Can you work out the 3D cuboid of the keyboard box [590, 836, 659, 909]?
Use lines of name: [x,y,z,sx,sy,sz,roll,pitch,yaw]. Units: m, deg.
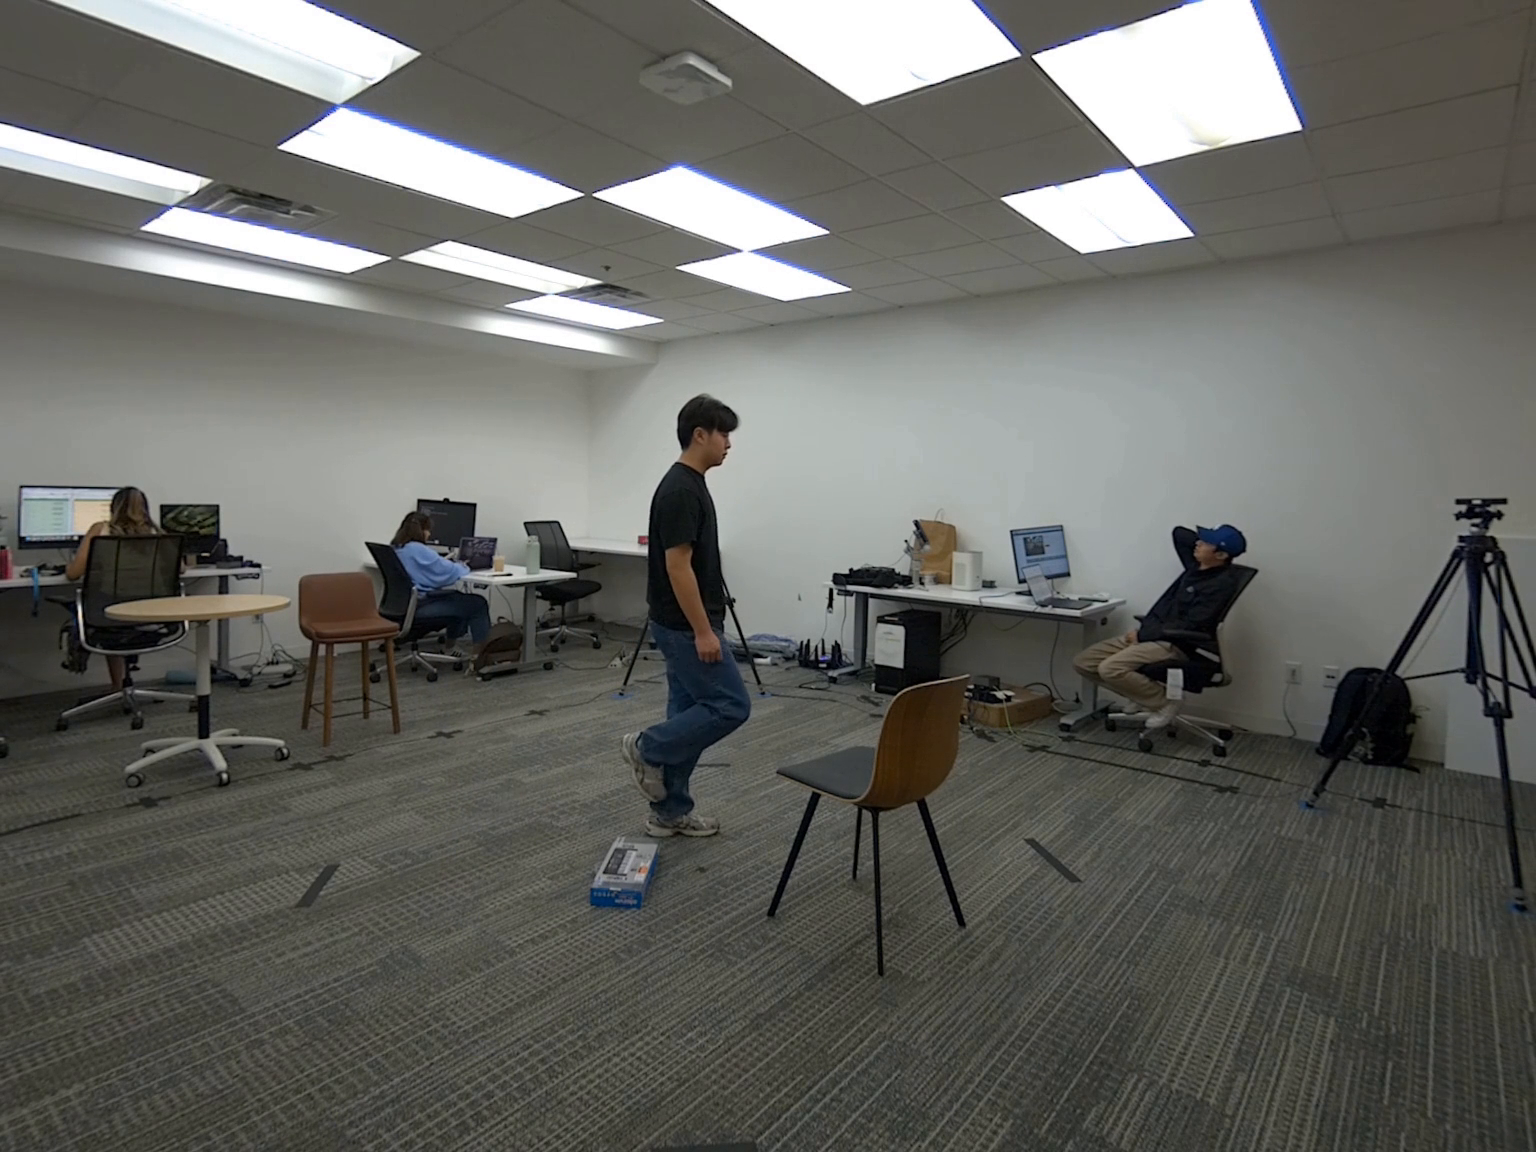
keyboard box: [-0.511,1.044,3.027,0.176,0.059,0.437,2,5,2]
